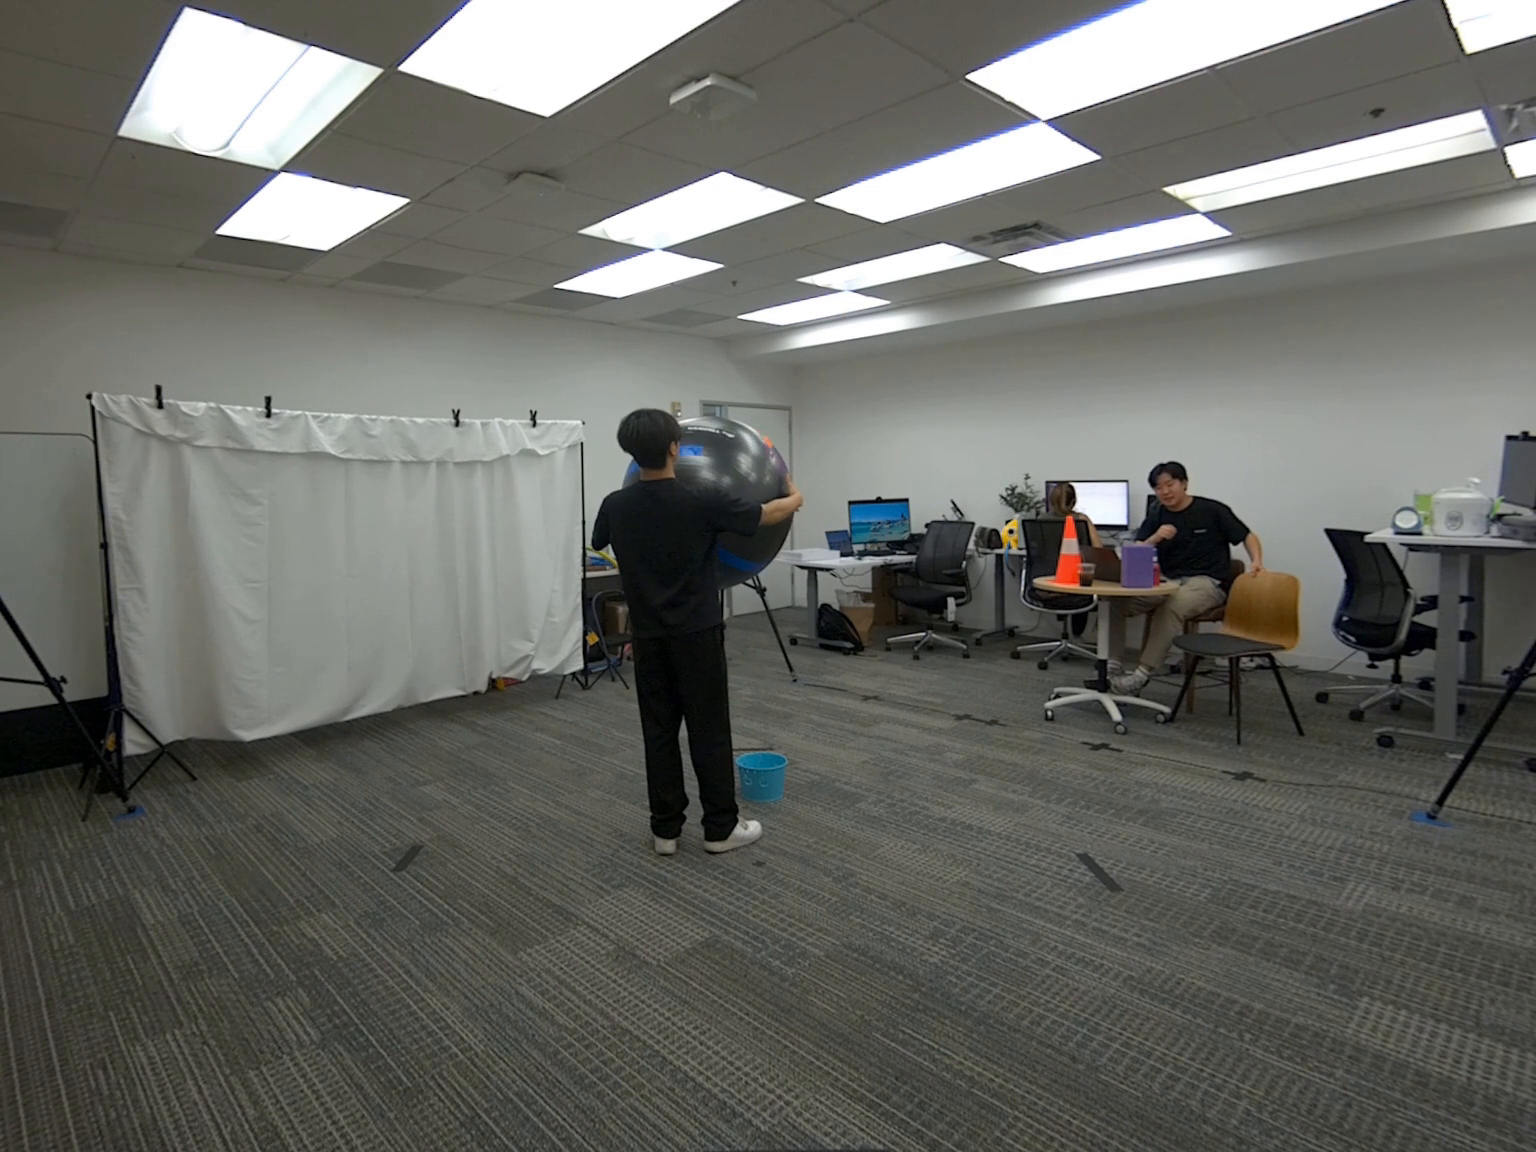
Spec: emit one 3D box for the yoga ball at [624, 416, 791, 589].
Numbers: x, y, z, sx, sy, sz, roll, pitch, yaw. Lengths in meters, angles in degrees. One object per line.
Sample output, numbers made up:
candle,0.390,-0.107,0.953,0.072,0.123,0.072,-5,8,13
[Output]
yoga ball,-0.262,-0.312,3.748,0.757,0.755,0.762,-1,5,-2
